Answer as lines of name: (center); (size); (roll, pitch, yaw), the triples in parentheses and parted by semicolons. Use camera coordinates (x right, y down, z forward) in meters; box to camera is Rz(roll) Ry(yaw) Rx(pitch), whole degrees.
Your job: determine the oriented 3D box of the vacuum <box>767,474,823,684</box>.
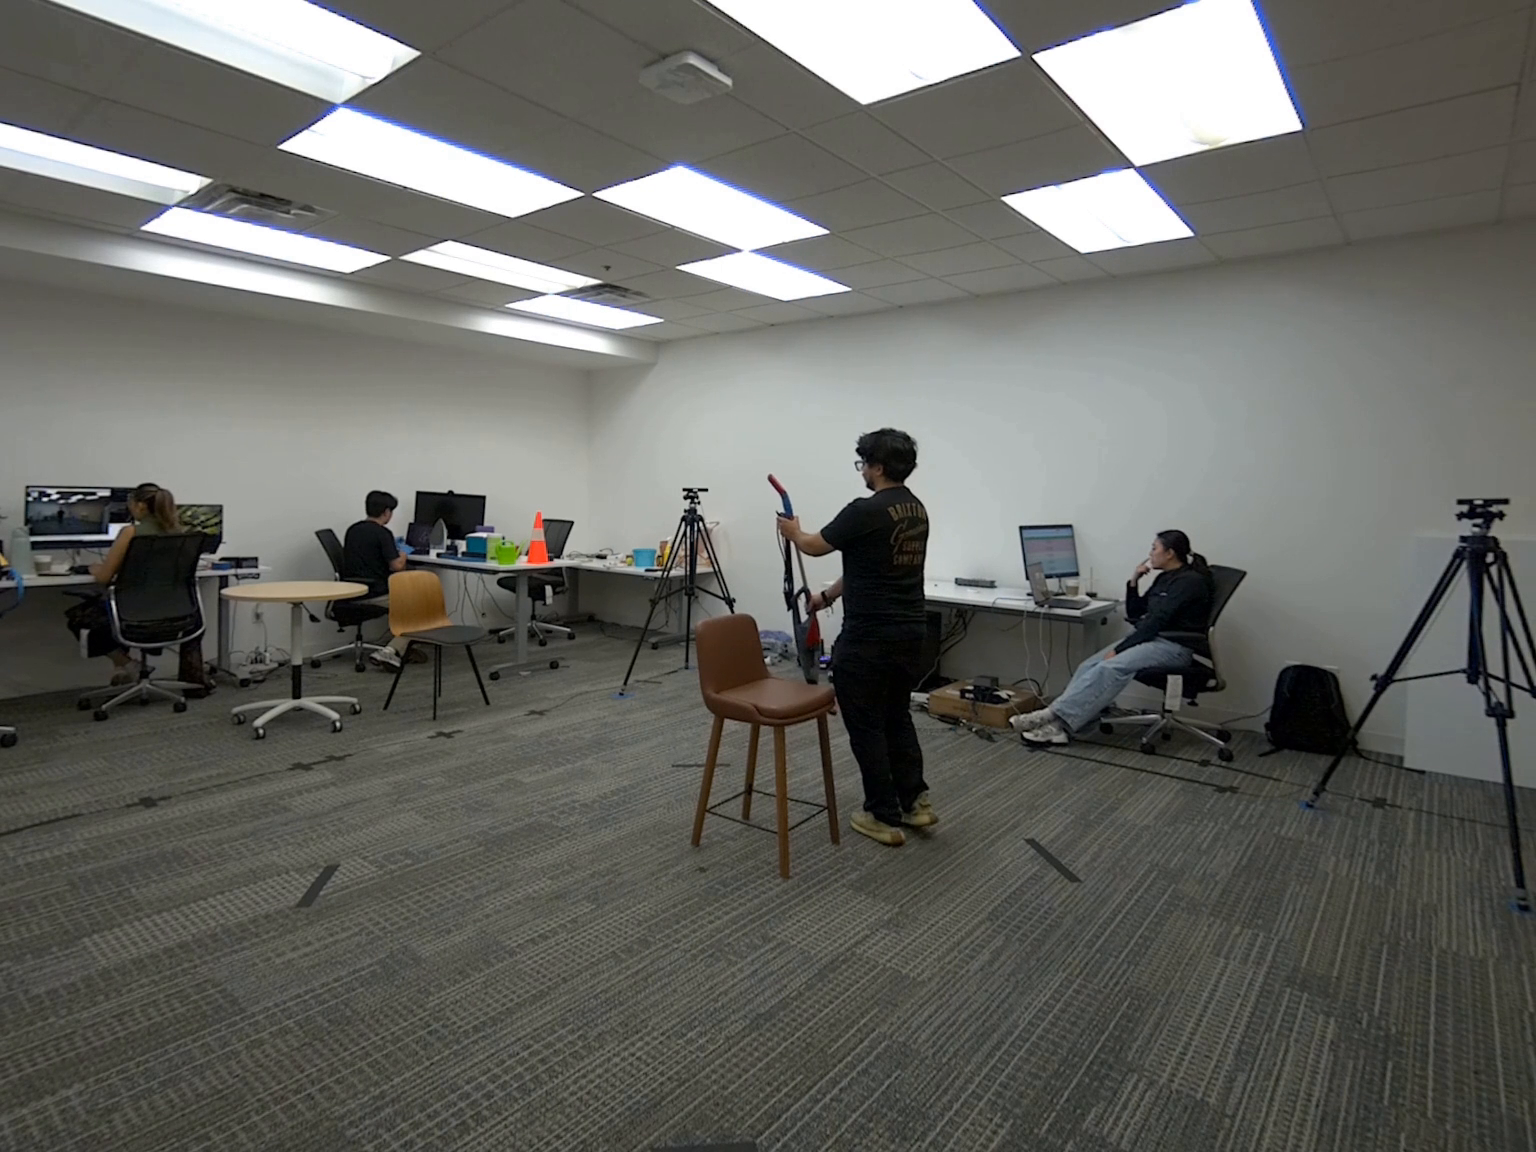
vacuum: (0.119, 0.054, 3.825); (0.147, 1.041, 0.249); (-10, 8, 26)
